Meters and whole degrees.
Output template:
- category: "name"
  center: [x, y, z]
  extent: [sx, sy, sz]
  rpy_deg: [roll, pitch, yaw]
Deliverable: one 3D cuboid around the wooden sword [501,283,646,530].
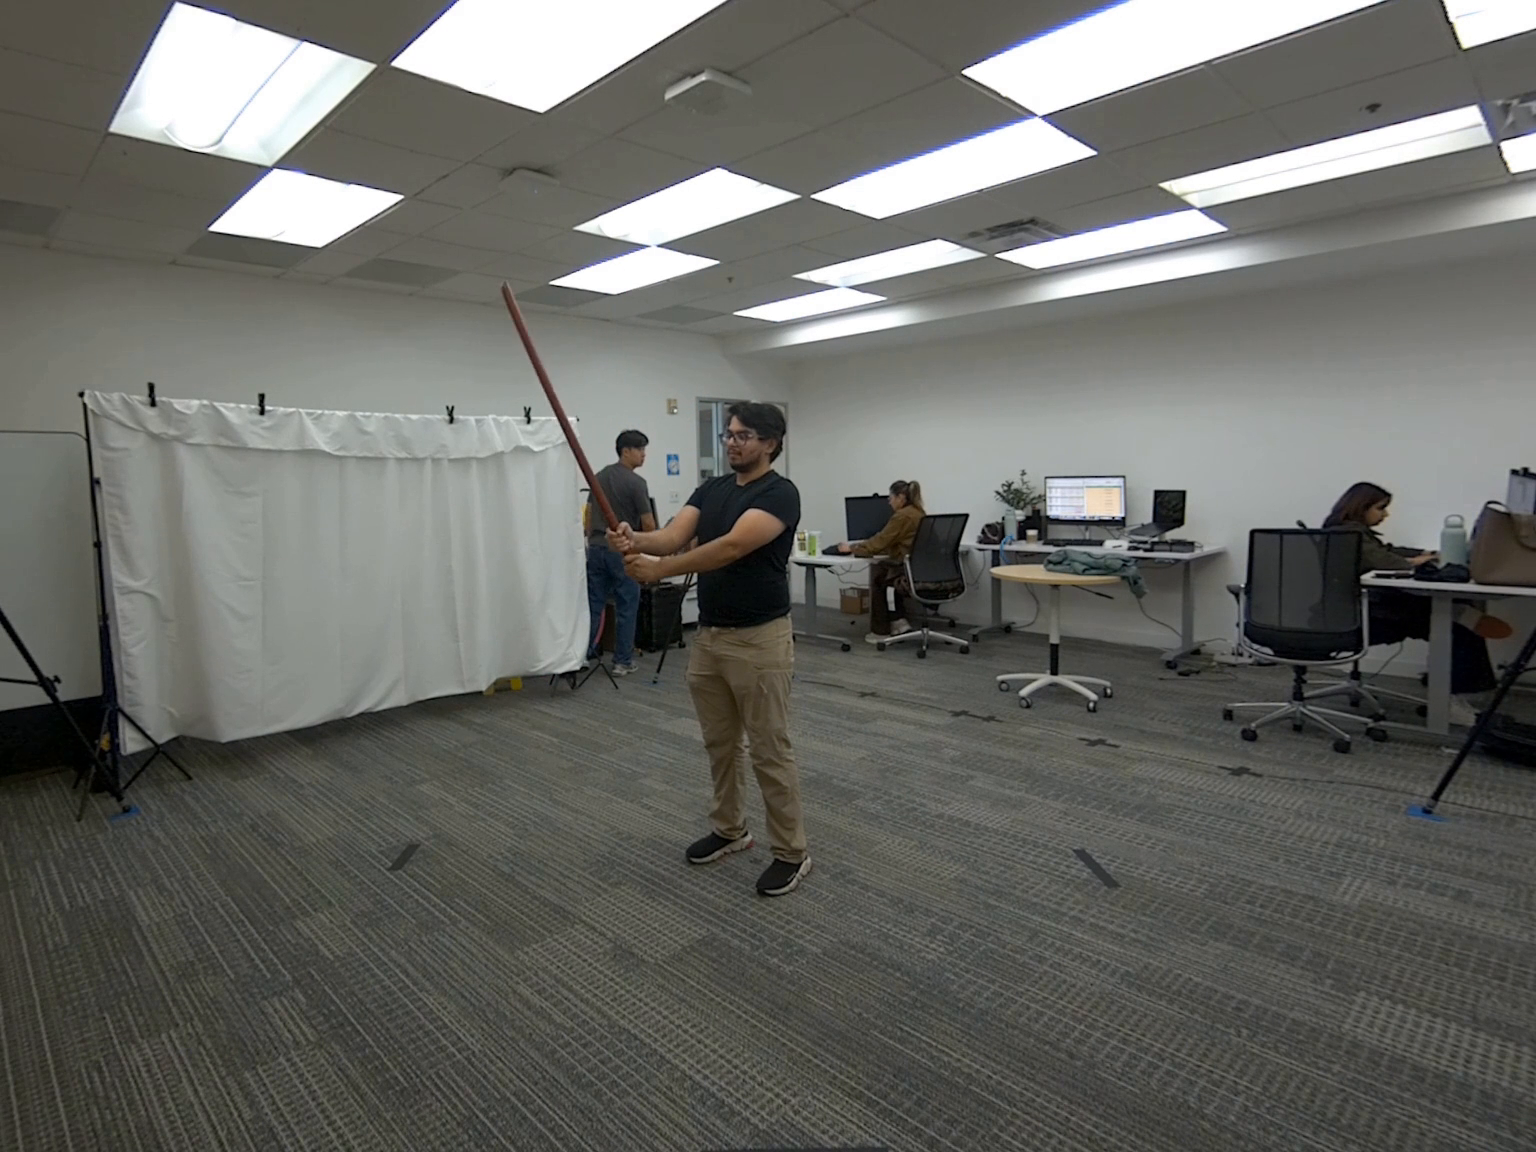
- category: "wooden sword"
  center: [-0.613, -0.425, 2.623]
  extent: [0.024, 1.005, 0.051]
  rpy_deg: [-11, 22, 40]
